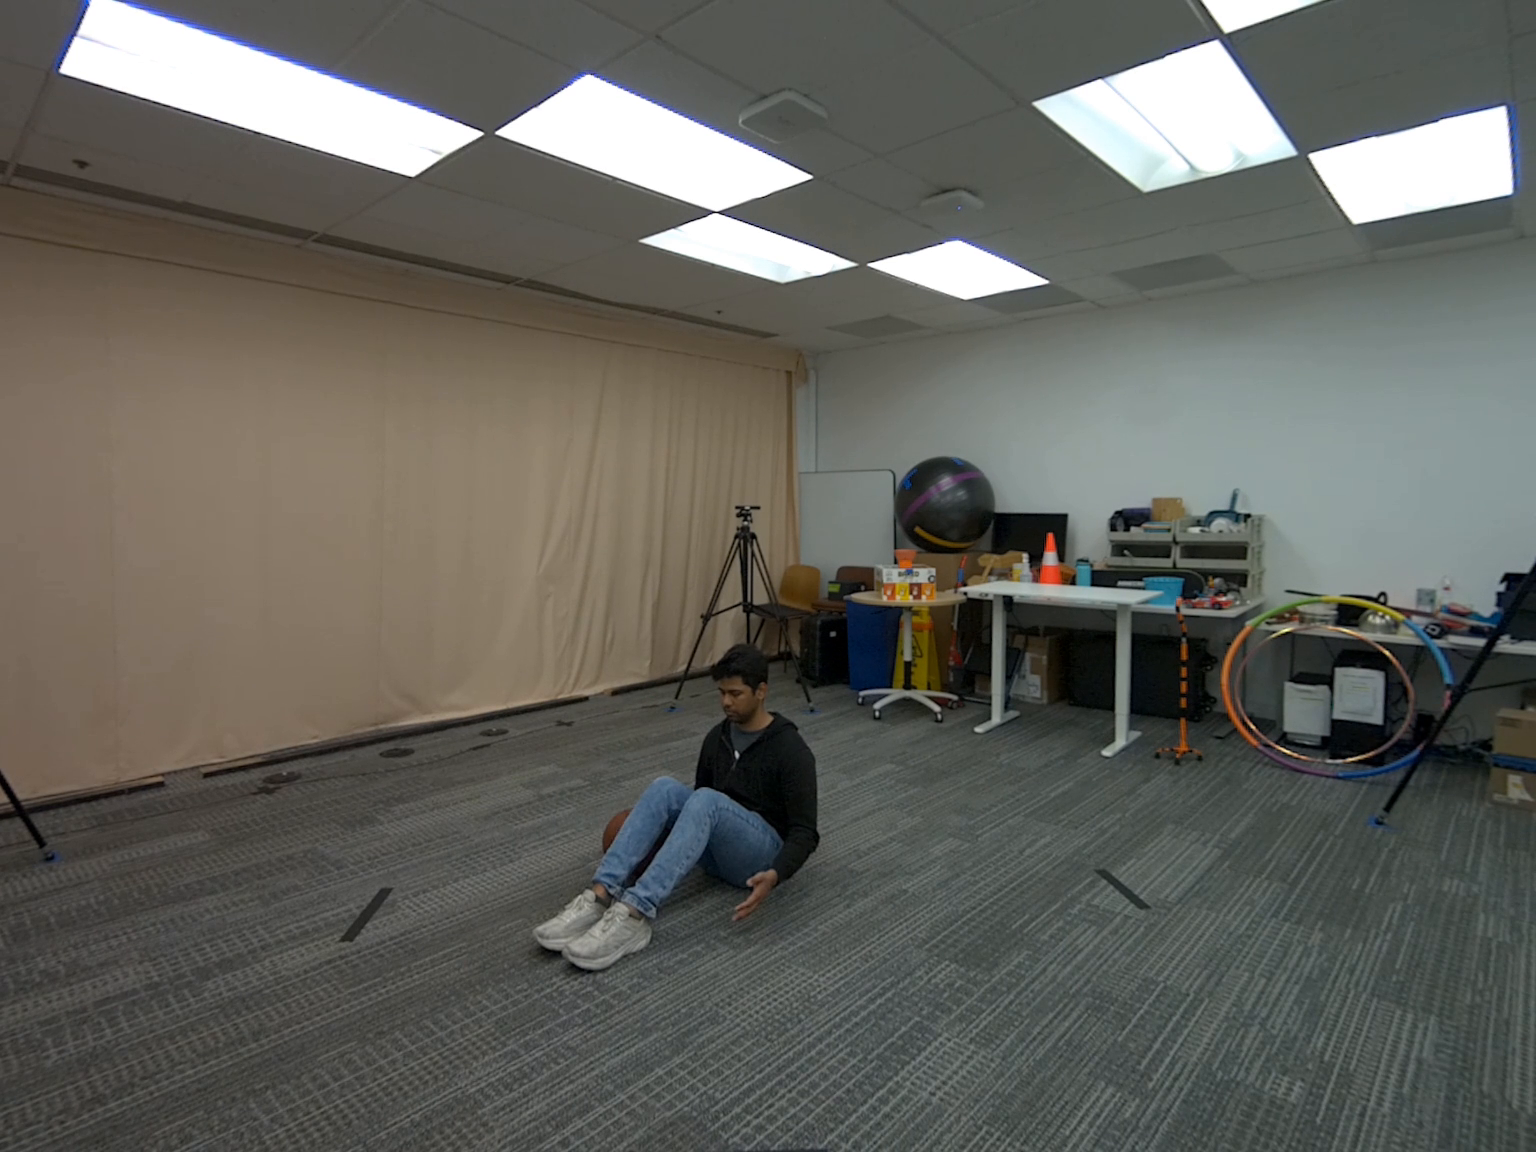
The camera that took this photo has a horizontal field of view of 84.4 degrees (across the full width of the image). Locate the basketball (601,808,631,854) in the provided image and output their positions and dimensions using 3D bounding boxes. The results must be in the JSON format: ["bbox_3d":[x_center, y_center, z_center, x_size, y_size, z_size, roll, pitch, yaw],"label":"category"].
[{"bbox_3d":[-0.491,0.987,3.133,0.236,0.235,0.237,0,4,-2],"label":"basketball"}]
